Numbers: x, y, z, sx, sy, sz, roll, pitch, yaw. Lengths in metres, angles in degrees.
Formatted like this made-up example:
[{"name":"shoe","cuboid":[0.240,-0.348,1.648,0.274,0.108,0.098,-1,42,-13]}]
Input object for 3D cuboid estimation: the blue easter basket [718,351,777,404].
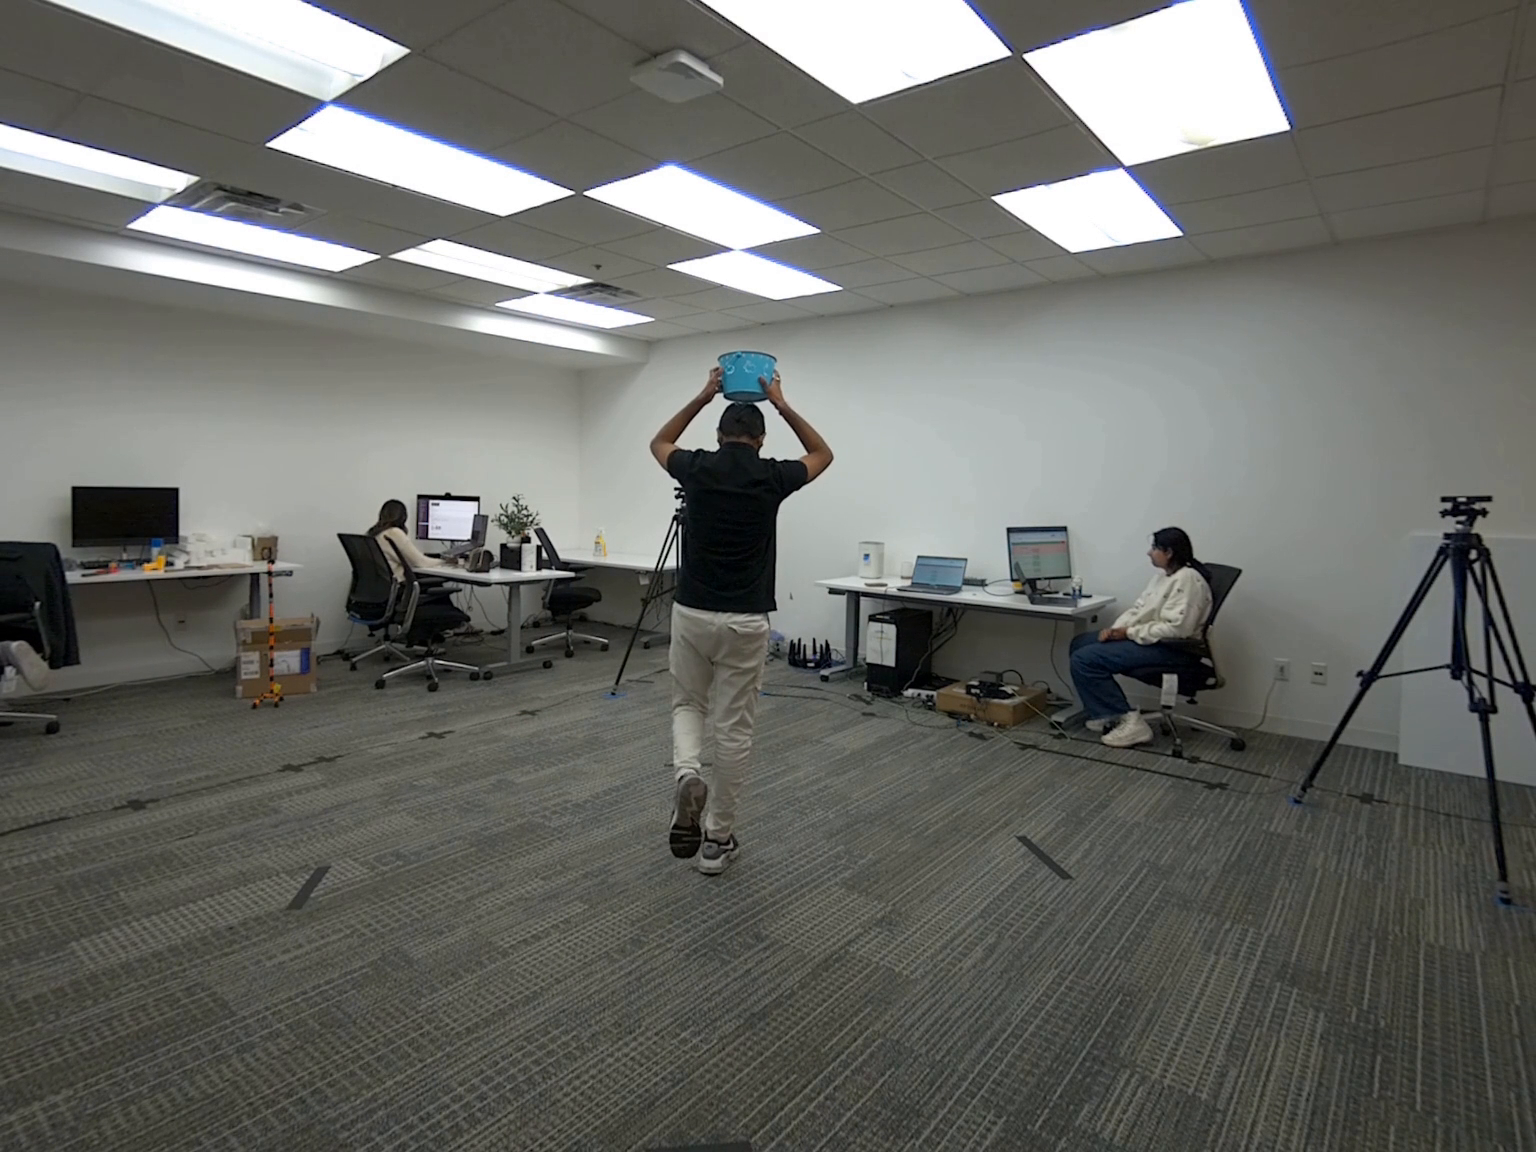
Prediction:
[{"name":"blue easter basket","cuboid":[-0.098,-0.787,3.363,0.243,0.156,0.243,2,-3,-2]}]
